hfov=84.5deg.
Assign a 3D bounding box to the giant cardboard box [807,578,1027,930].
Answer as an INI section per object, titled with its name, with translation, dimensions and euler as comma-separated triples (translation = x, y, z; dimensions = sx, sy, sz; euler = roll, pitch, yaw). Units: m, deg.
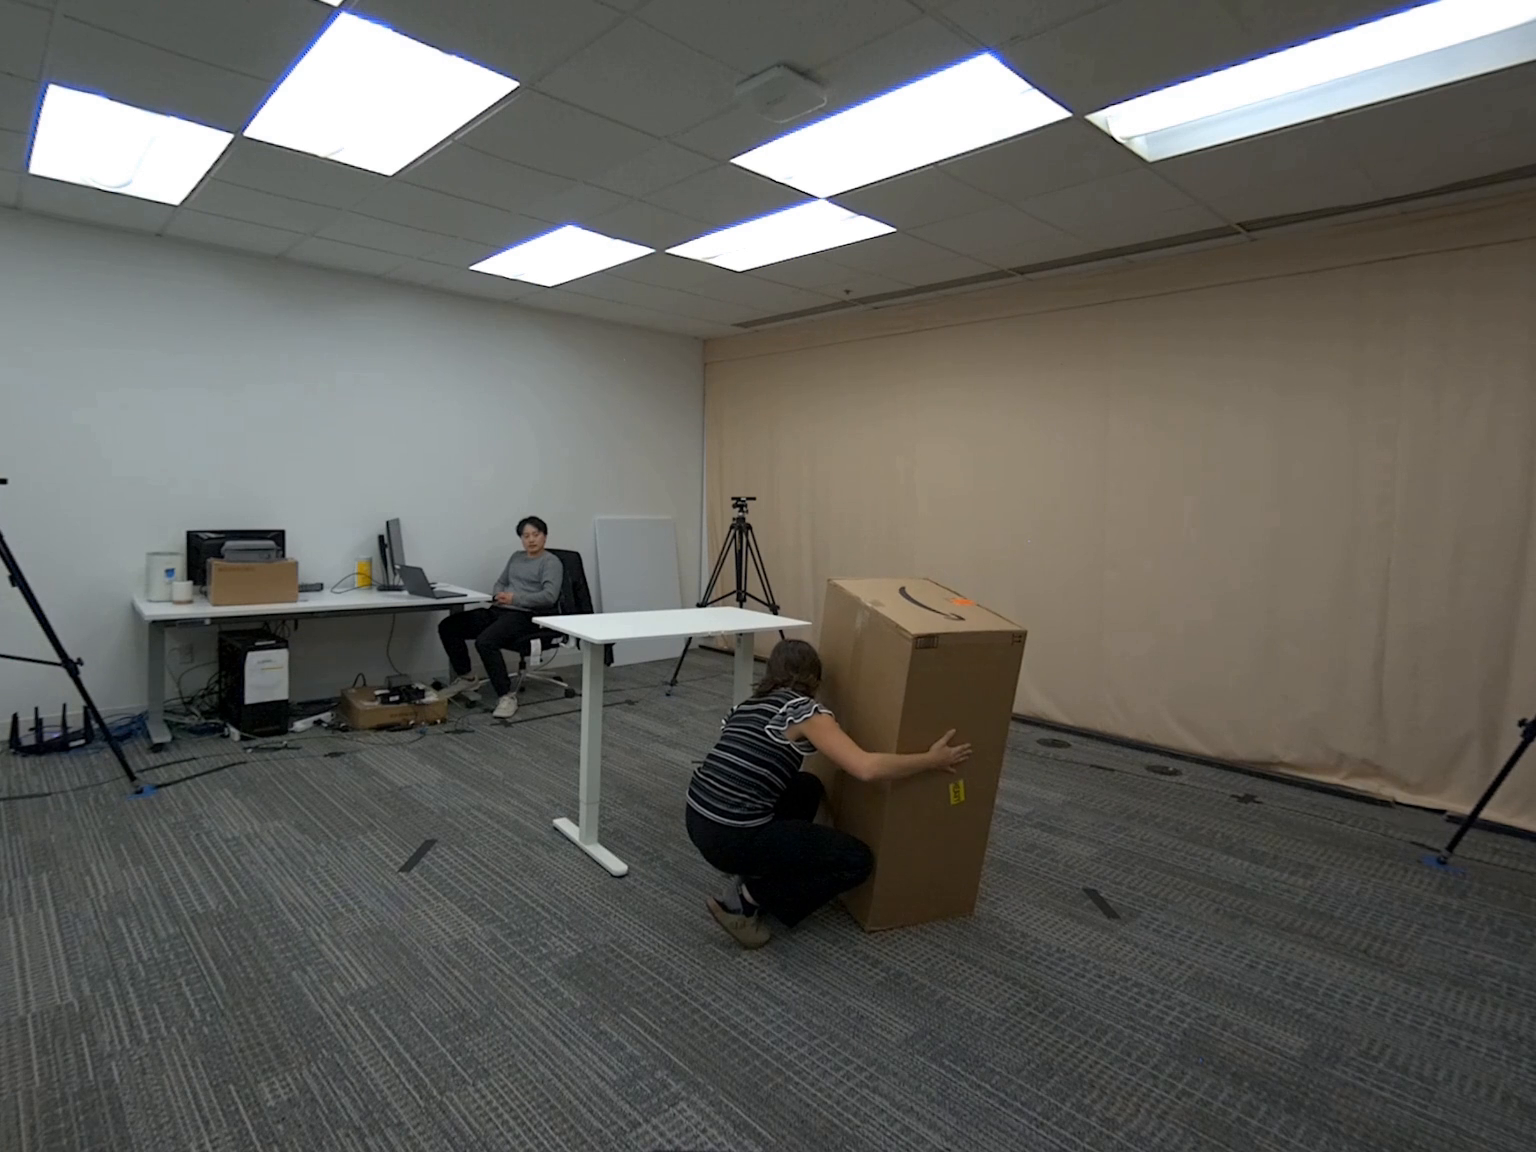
[giant cardboard box]
translation = 0.454, 0.578, 2.930
dimensions = 0.419, 1.016, 0.592
euler = 0, 15, -22
